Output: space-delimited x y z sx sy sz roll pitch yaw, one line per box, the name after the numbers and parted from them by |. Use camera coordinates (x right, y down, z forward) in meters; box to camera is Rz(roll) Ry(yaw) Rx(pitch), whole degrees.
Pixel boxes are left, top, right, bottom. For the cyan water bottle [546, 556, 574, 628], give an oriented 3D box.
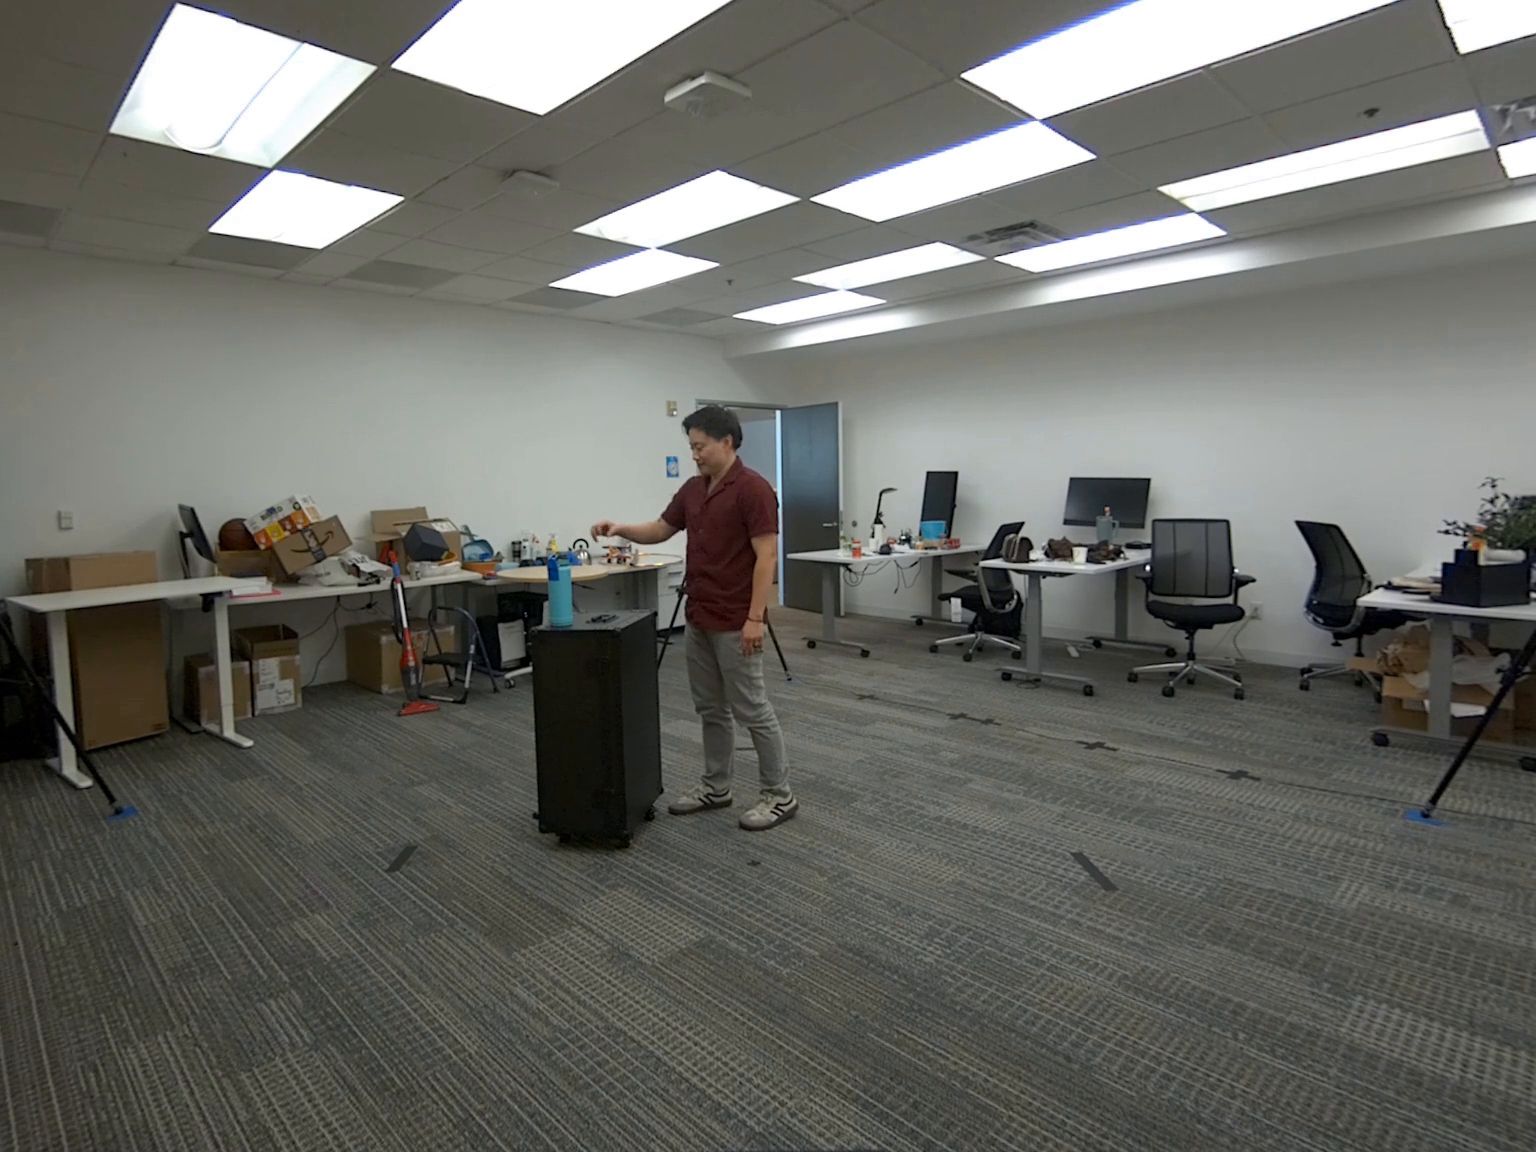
-0.801 0.049 3.303 0.092 0.282 0.093 -4 4 -1 | cyan water bottle
